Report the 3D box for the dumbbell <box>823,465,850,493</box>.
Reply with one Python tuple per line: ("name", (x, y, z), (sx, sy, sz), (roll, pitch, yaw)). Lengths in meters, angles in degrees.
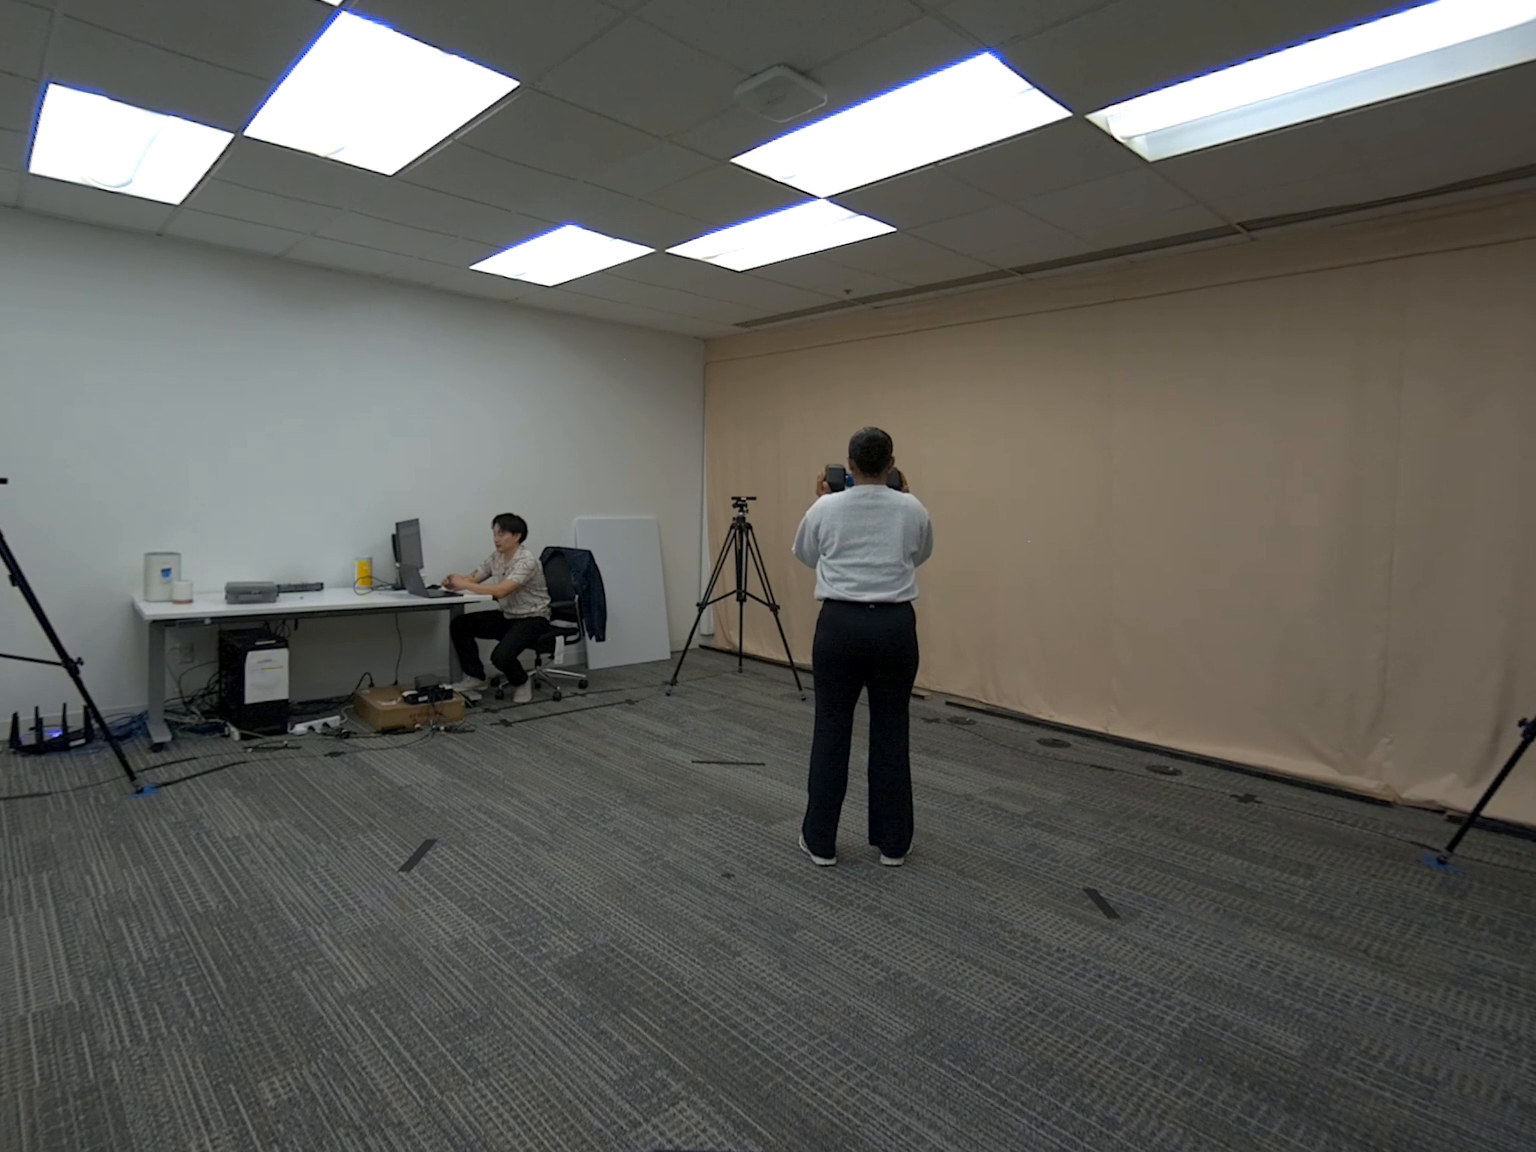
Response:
("dumbbell", (0.367, -0.371, 3.330), (0.293, 0.111, 0.120), (1, -39, -1))
